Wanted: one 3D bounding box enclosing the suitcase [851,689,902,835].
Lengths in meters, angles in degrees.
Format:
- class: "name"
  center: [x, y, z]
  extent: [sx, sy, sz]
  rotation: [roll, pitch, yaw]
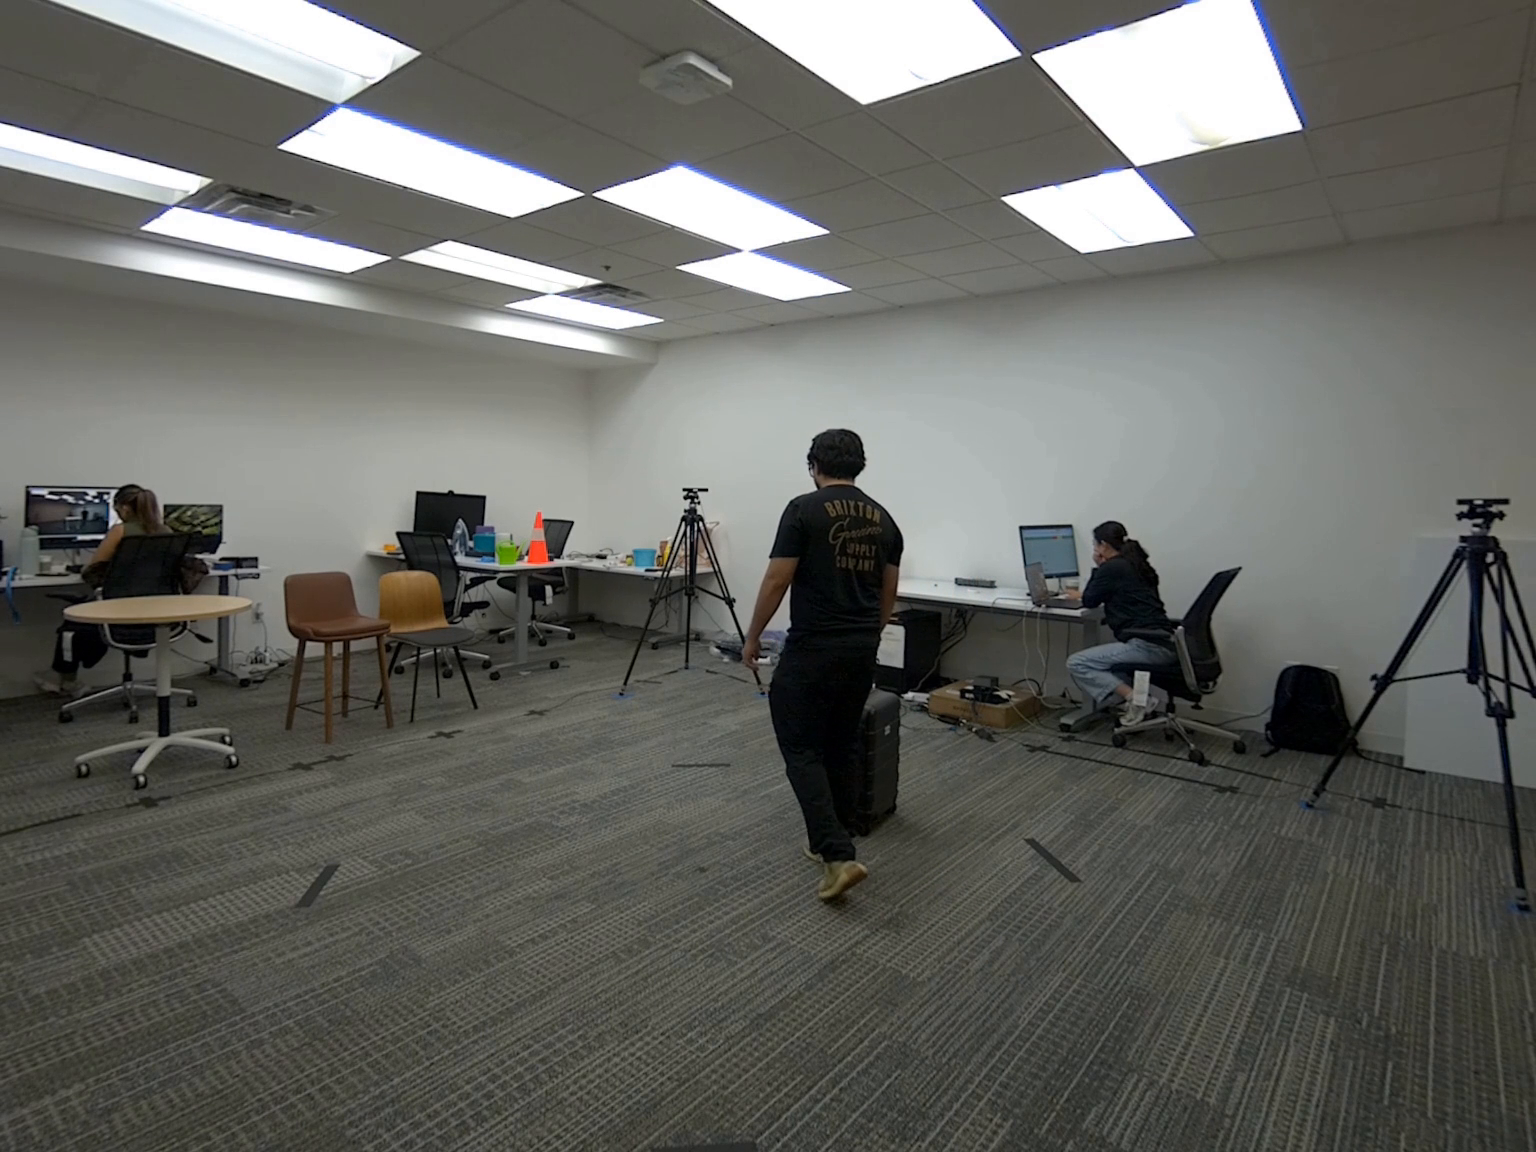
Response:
- class: "suitcase"
  center: [0.380, 0.756, 3.612]
  extent: [0.256, 0.547, 0.366]
  rotation: [5, 5, 29]
